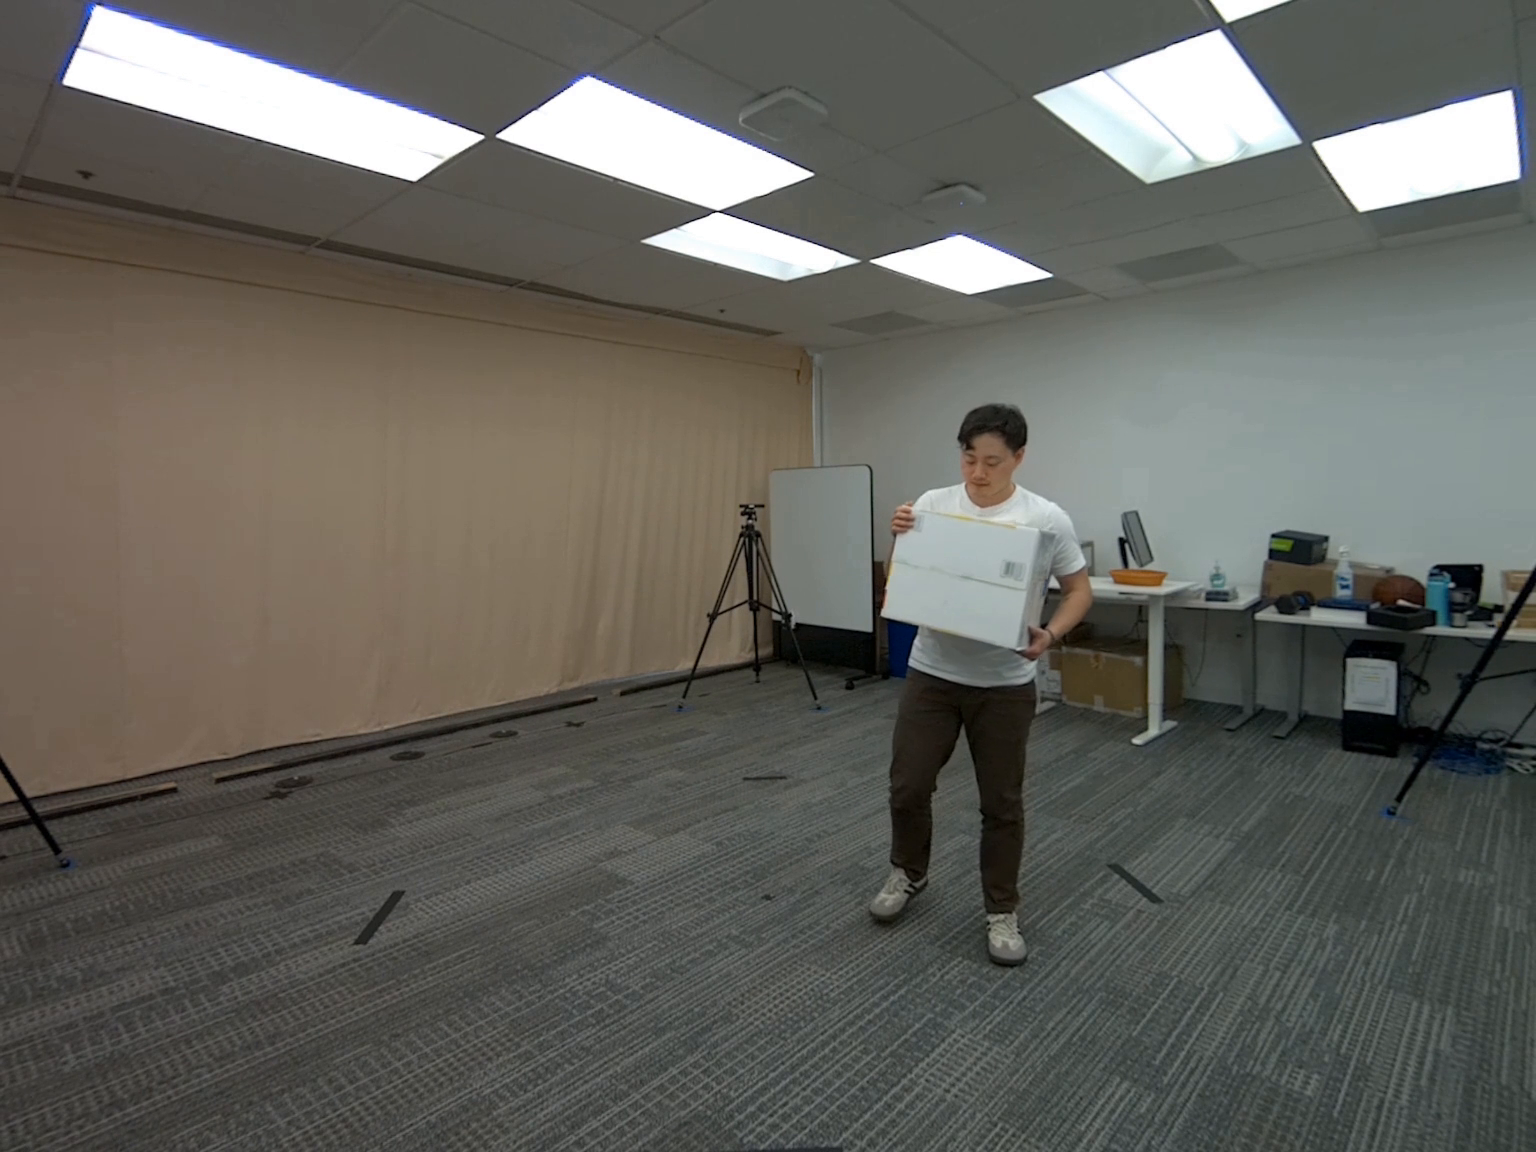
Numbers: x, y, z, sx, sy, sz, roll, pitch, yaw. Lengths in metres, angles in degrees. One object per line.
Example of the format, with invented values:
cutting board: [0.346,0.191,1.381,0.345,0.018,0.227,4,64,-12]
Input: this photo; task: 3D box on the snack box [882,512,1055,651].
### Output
snack box: [0.583,0.002,2.476,0.419,0.339,0.199,13,5,34]
